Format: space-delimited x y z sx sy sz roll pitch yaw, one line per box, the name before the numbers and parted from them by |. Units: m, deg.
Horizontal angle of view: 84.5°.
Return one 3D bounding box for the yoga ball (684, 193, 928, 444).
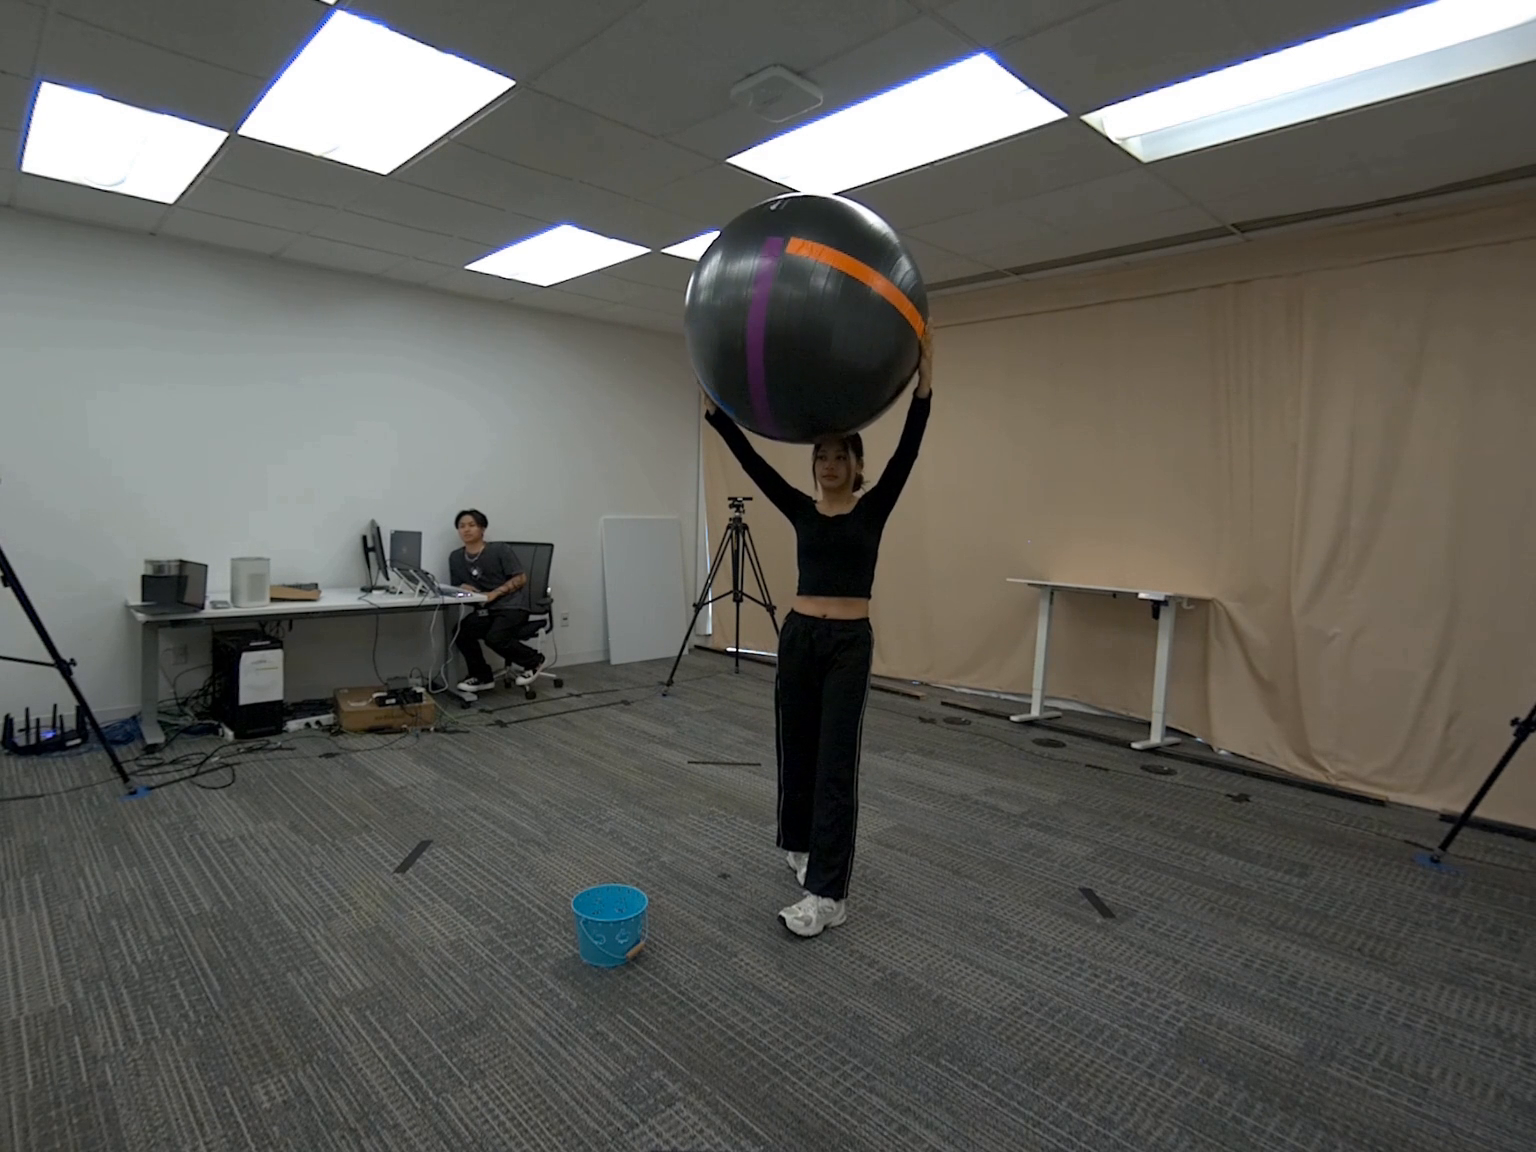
yoga ball | 0.111 -0.786 2.640 0.757 0.756 0.761 1 4 -1
